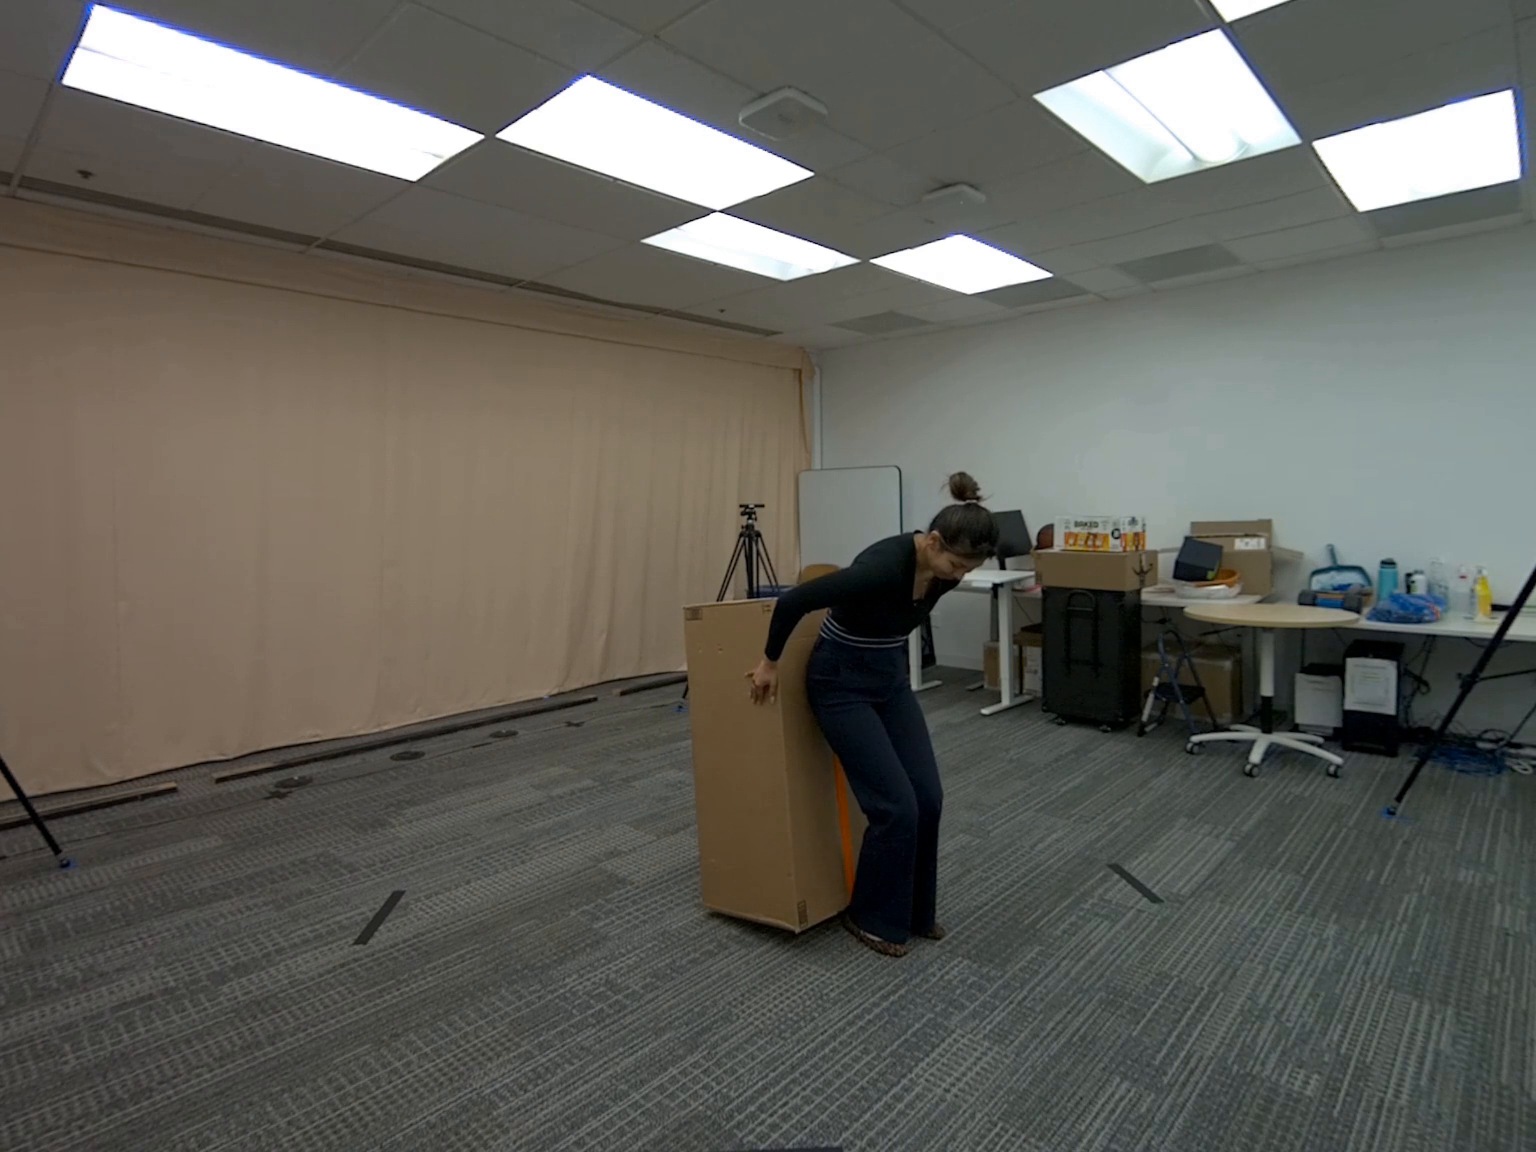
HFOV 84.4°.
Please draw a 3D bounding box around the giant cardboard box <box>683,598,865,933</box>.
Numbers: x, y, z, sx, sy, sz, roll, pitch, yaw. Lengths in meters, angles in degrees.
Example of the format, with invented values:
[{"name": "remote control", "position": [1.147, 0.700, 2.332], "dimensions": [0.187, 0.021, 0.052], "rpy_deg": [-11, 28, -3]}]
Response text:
[{"name": "giant cardboard box", "position": [0.079, 0.597, 2.968], "dimensions": [0.438, 1.030, 0.559], "rpy_deg": [-10, -7, 42]}]
